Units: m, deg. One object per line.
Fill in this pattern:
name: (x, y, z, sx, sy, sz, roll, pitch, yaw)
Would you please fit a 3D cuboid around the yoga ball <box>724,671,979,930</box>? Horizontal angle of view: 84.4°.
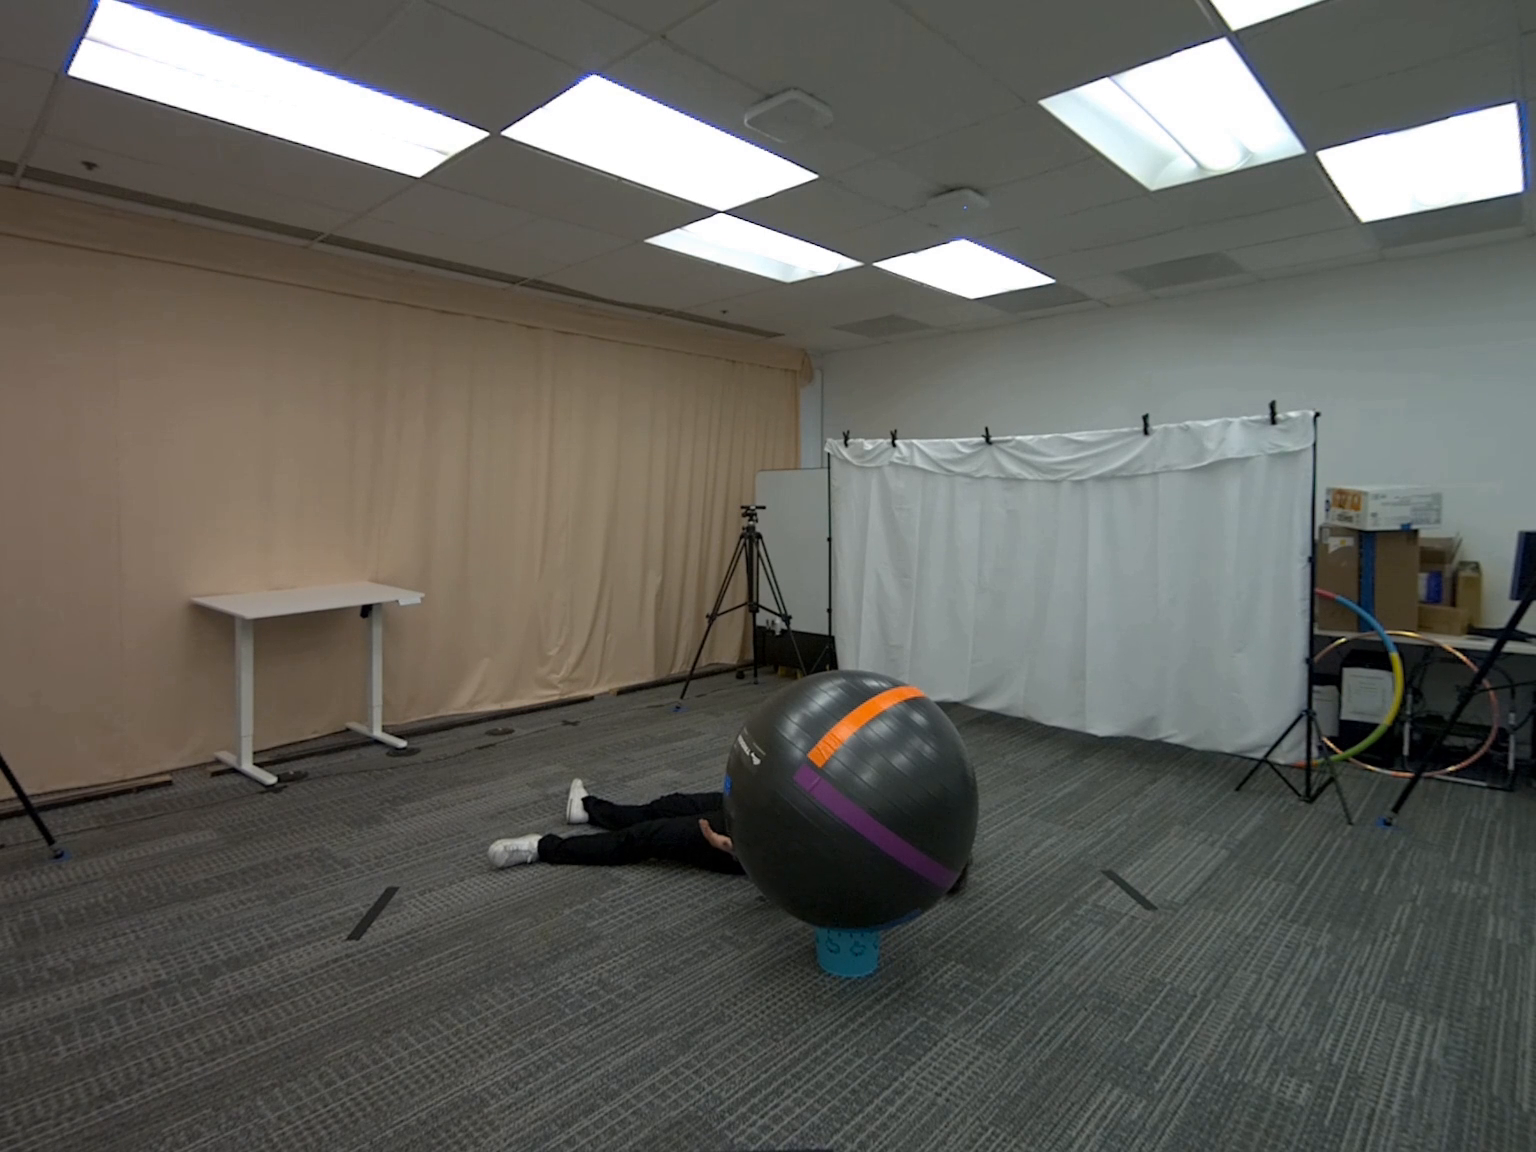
yoga ball: (0.244, 0.670, 2.547, 0.757, 0.756, 0.760, 0, 4, -2)
